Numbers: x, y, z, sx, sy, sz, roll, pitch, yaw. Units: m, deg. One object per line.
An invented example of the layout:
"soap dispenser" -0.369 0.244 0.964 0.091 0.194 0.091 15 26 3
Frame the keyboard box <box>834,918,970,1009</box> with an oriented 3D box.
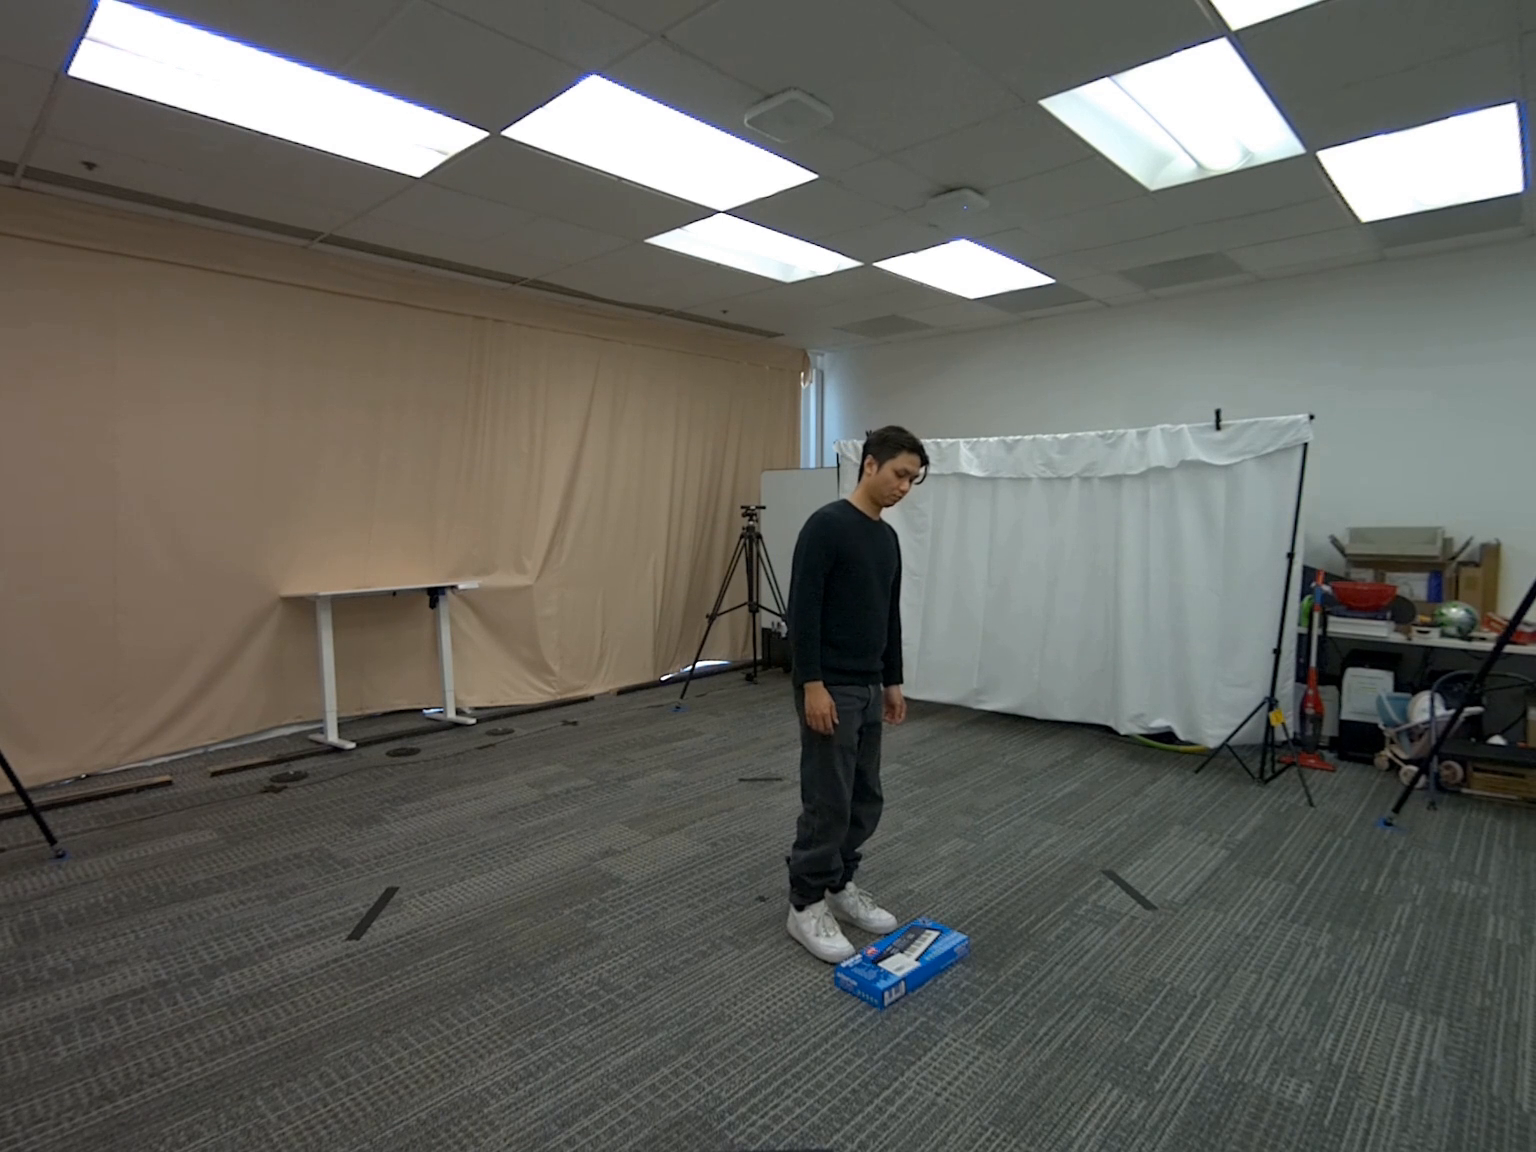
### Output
"keyboard box" 0.417 1.152 2.521 0.423 0.059 0.182 -4 7 -43
